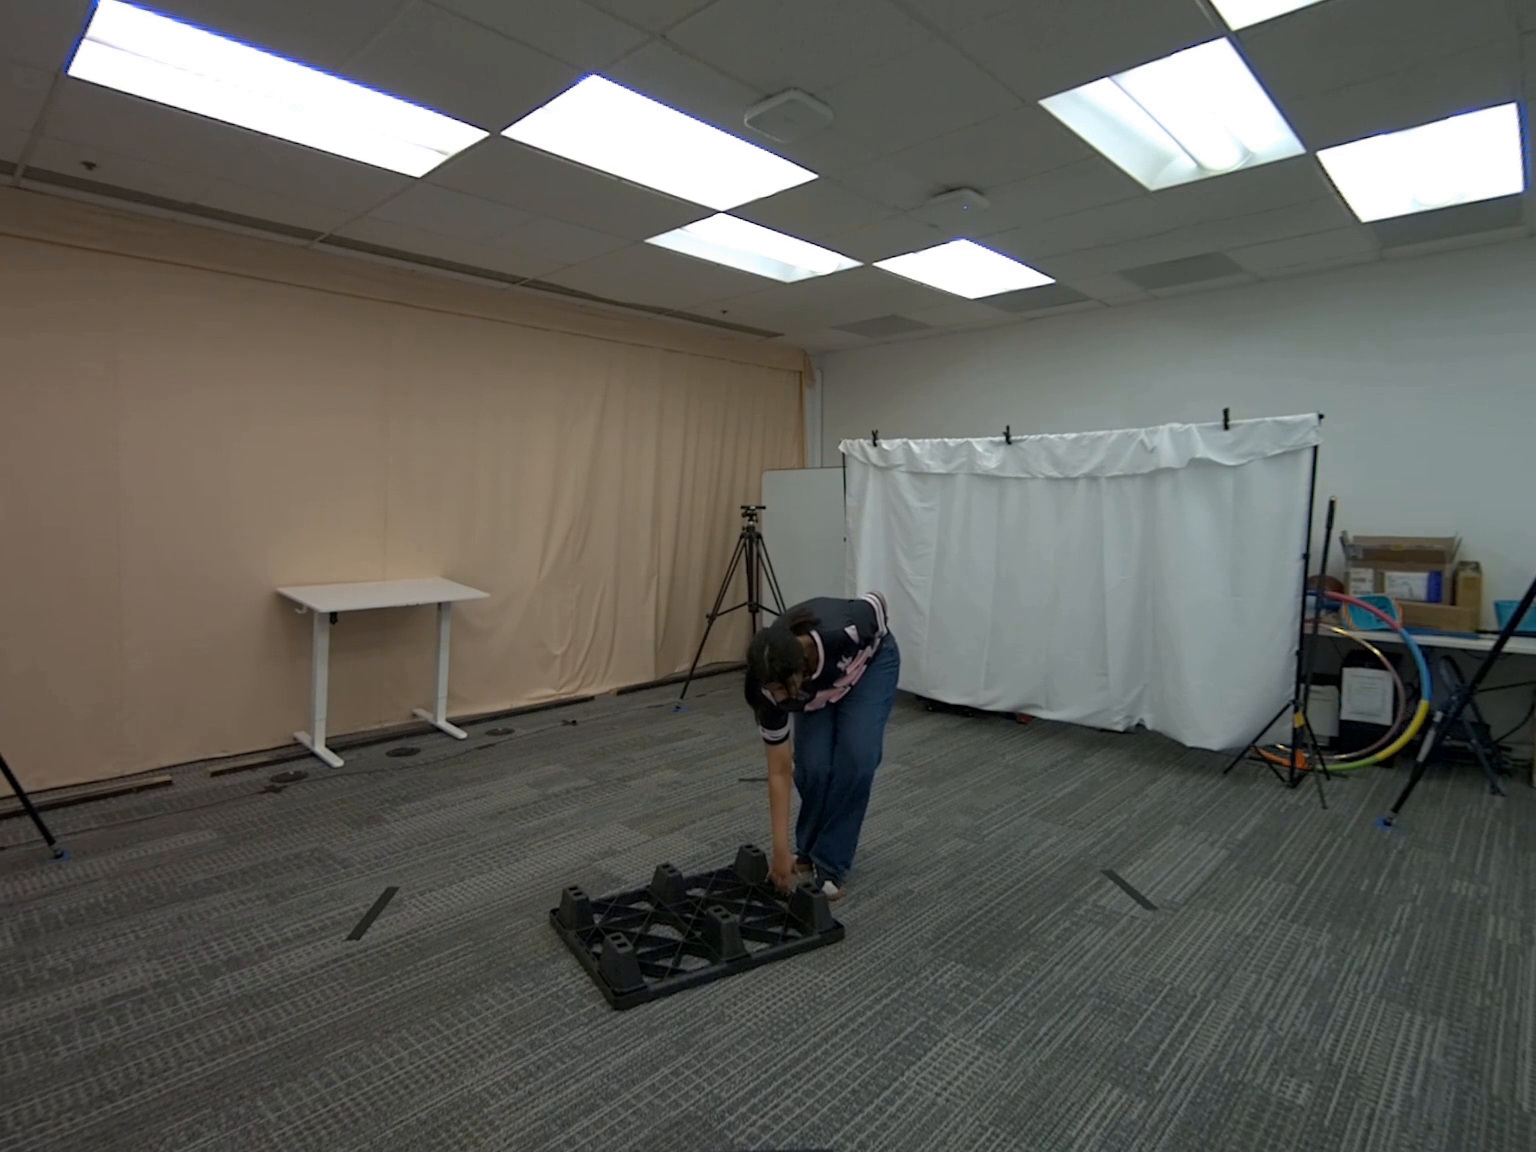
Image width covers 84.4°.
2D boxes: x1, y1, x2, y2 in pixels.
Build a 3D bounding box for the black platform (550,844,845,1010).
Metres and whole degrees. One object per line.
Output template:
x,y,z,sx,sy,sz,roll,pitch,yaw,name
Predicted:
-0.242,1.095,2.767,0.784,0.143,0.623,-3,6,-31,black platform
